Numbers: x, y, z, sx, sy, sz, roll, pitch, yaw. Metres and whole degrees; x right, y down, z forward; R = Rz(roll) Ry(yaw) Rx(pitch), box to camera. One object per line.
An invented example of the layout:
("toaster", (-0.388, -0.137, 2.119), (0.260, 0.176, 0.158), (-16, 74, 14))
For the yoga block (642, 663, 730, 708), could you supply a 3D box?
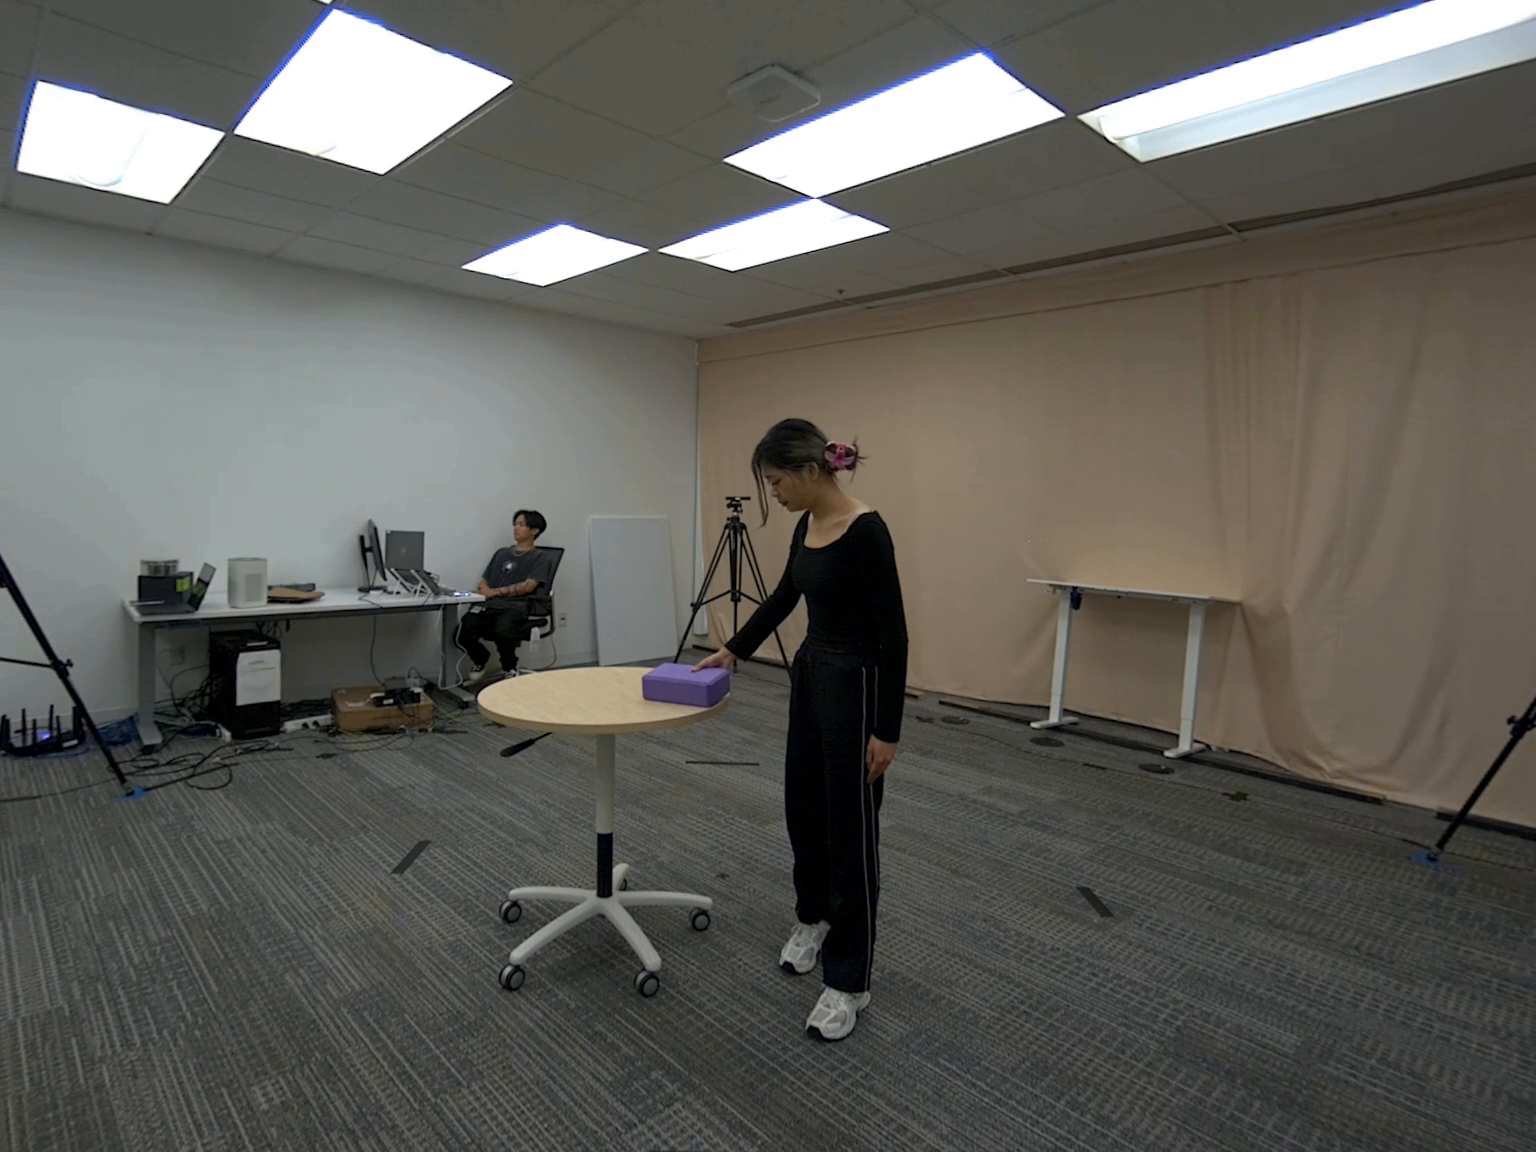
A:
("yoga block", (-0.248, 0.326, 2.515), (0.233, 0.076, 0.147), (2, 11, 23))
